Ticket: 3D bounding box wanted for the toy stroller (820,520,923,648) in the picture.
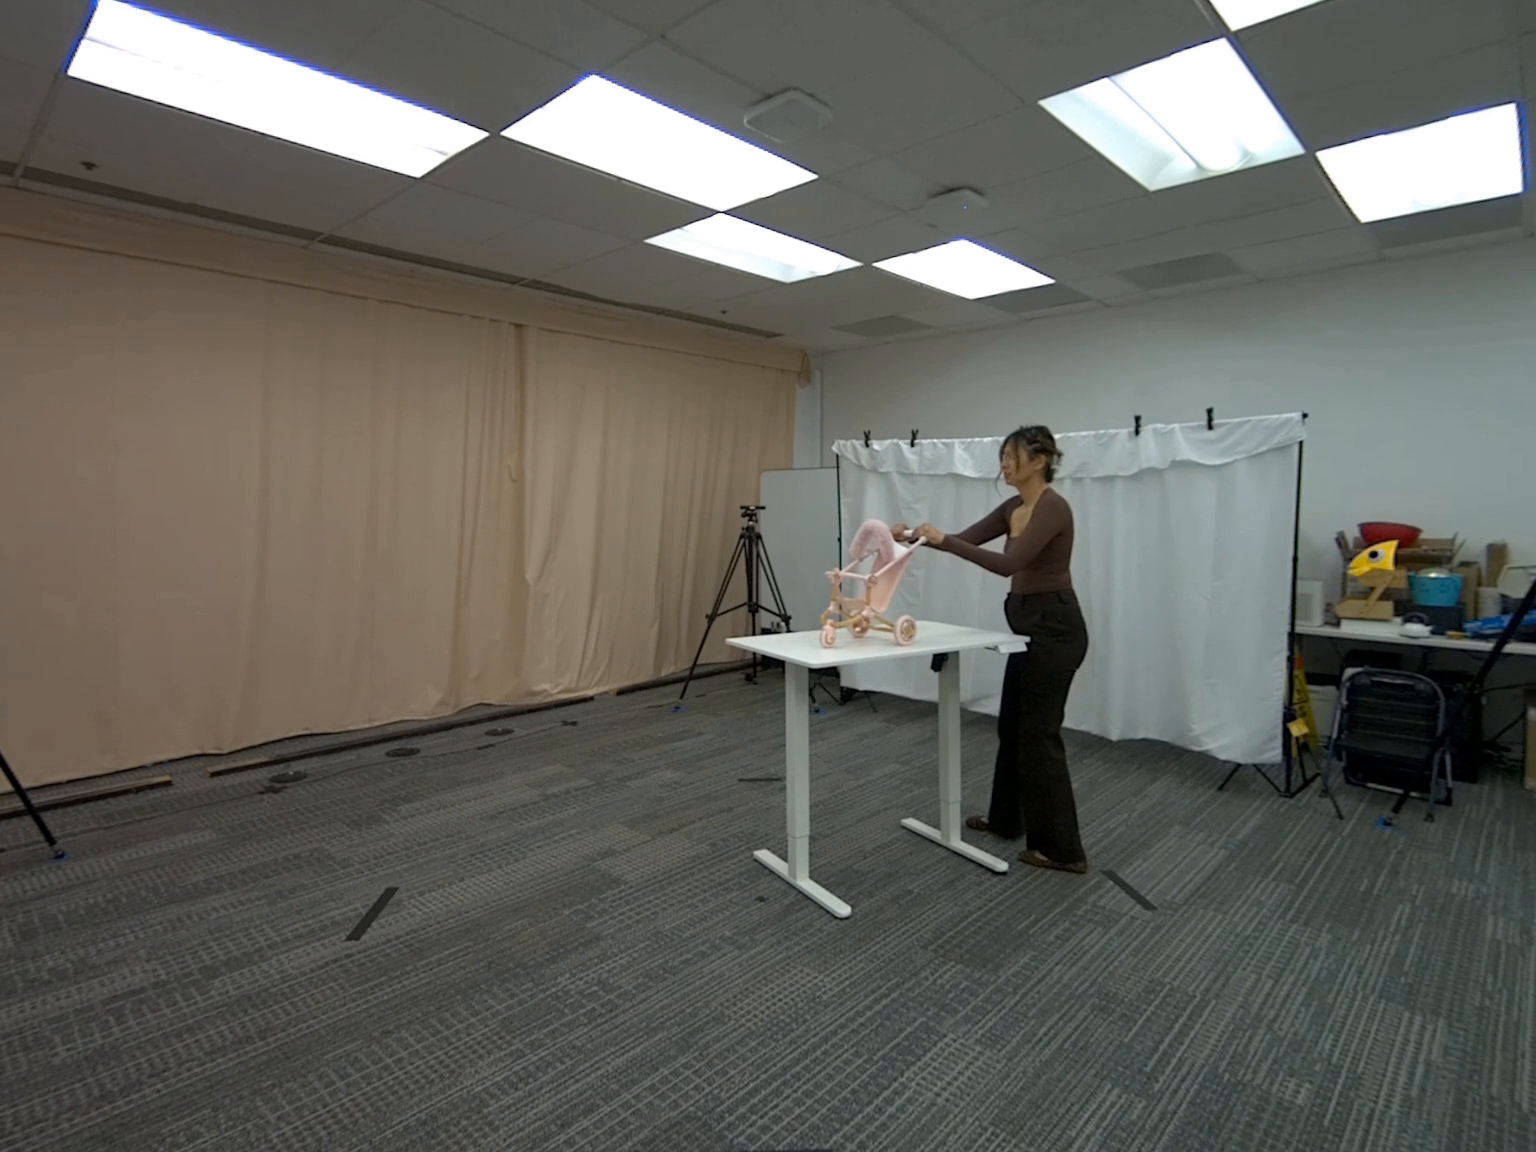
[{"bbox_3d":[0.382,0.029,3.127,0.331,0.536,0.289,17,-7,-29],"label":"toy stroller"}]
